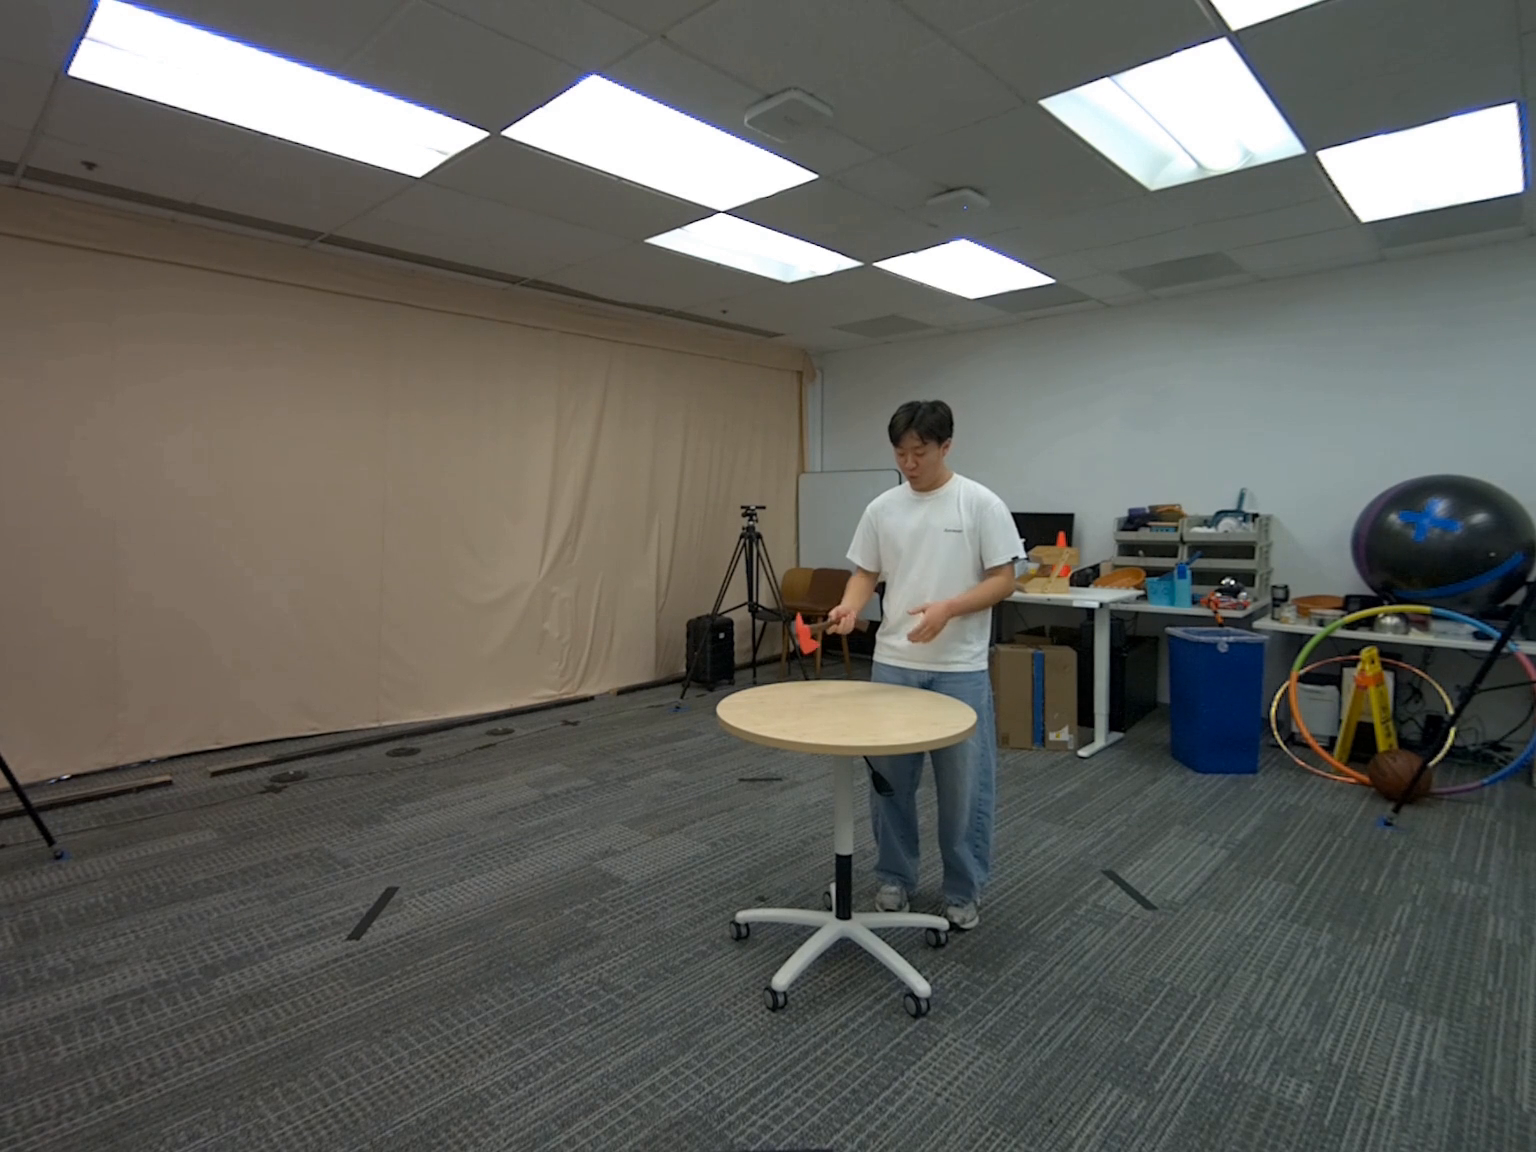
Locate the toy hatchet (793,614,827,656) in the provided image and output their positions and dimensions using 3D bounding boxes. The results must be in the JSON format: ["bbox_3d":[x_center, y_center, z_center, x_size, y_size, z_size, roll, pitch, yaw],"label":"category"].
[{"bbox_3d":[0.250,0.172,2.738,0.265,0.131,0.030,9,-2,-15],"label":"toy hatchet"}]
